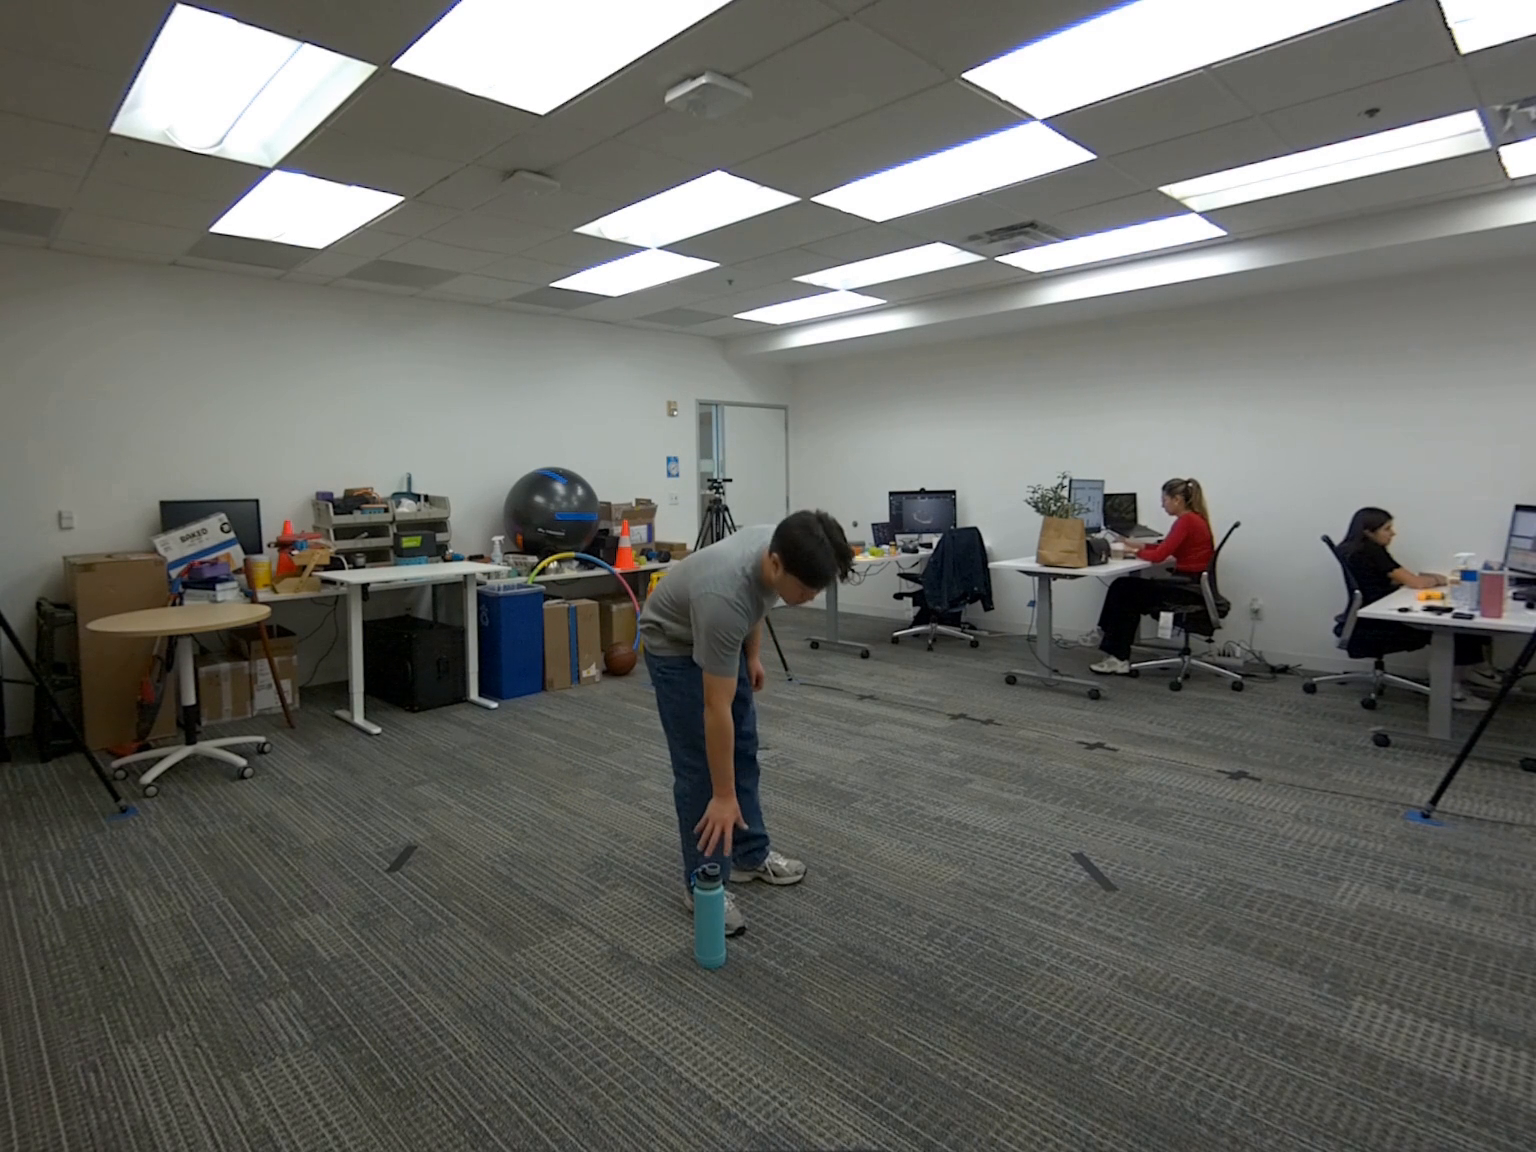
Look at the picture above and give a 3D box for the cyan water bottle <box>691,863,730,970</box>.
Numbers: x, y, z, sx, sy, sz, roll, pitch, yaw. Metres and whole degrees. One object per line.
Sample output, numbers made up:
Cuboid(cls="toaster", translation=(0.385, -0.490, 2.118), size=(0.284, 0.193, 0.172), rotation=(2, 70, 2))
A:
Cuboid(cls="cyan water bottle", translation=(-0.169, 0.985, 2.478), size=(0.092, 0.283, 0.092), rotation=(-4, 2, -1))
